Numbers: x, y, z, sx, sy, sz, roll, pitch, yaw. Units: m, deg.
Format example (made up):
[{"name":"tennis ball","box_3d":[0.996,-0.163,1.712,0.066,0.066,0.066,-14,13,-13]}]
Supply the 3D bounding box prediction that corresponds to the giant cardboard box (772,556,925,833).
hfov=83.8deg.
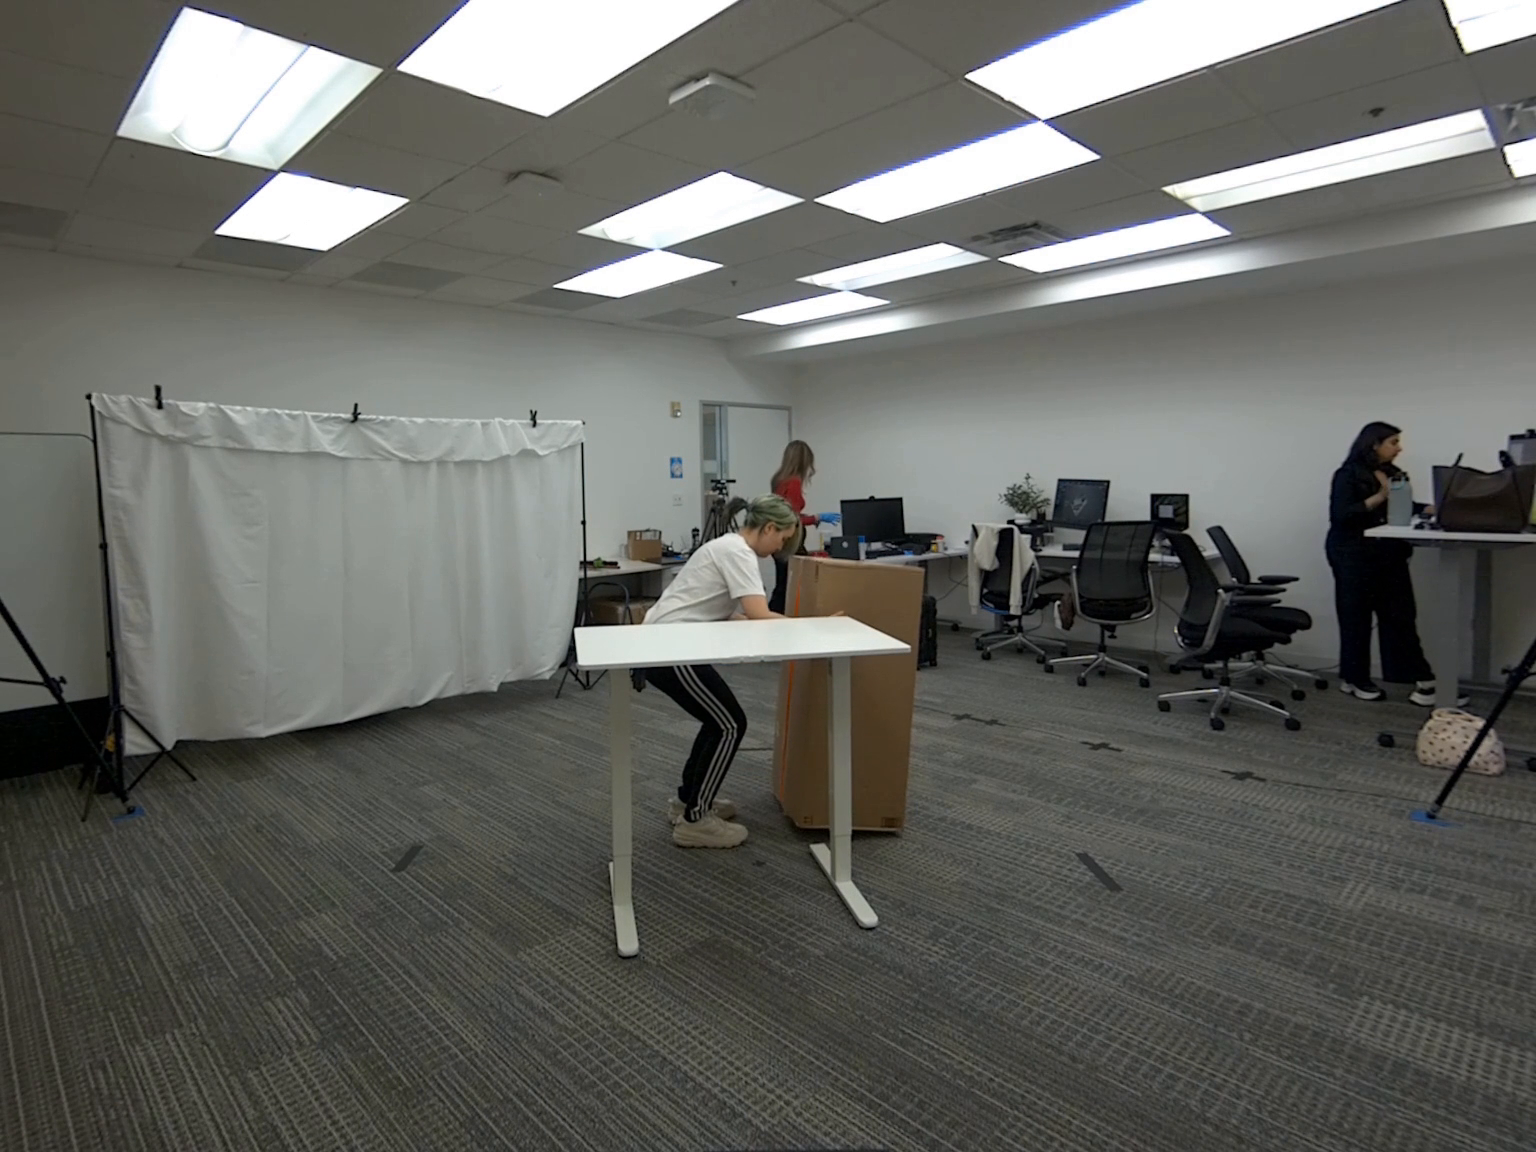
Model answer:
[{"name":"giant cardboard box","box_3d":[0.309,0.458,3.568,0.442,1.027,0.590,5,1,-11]}]
